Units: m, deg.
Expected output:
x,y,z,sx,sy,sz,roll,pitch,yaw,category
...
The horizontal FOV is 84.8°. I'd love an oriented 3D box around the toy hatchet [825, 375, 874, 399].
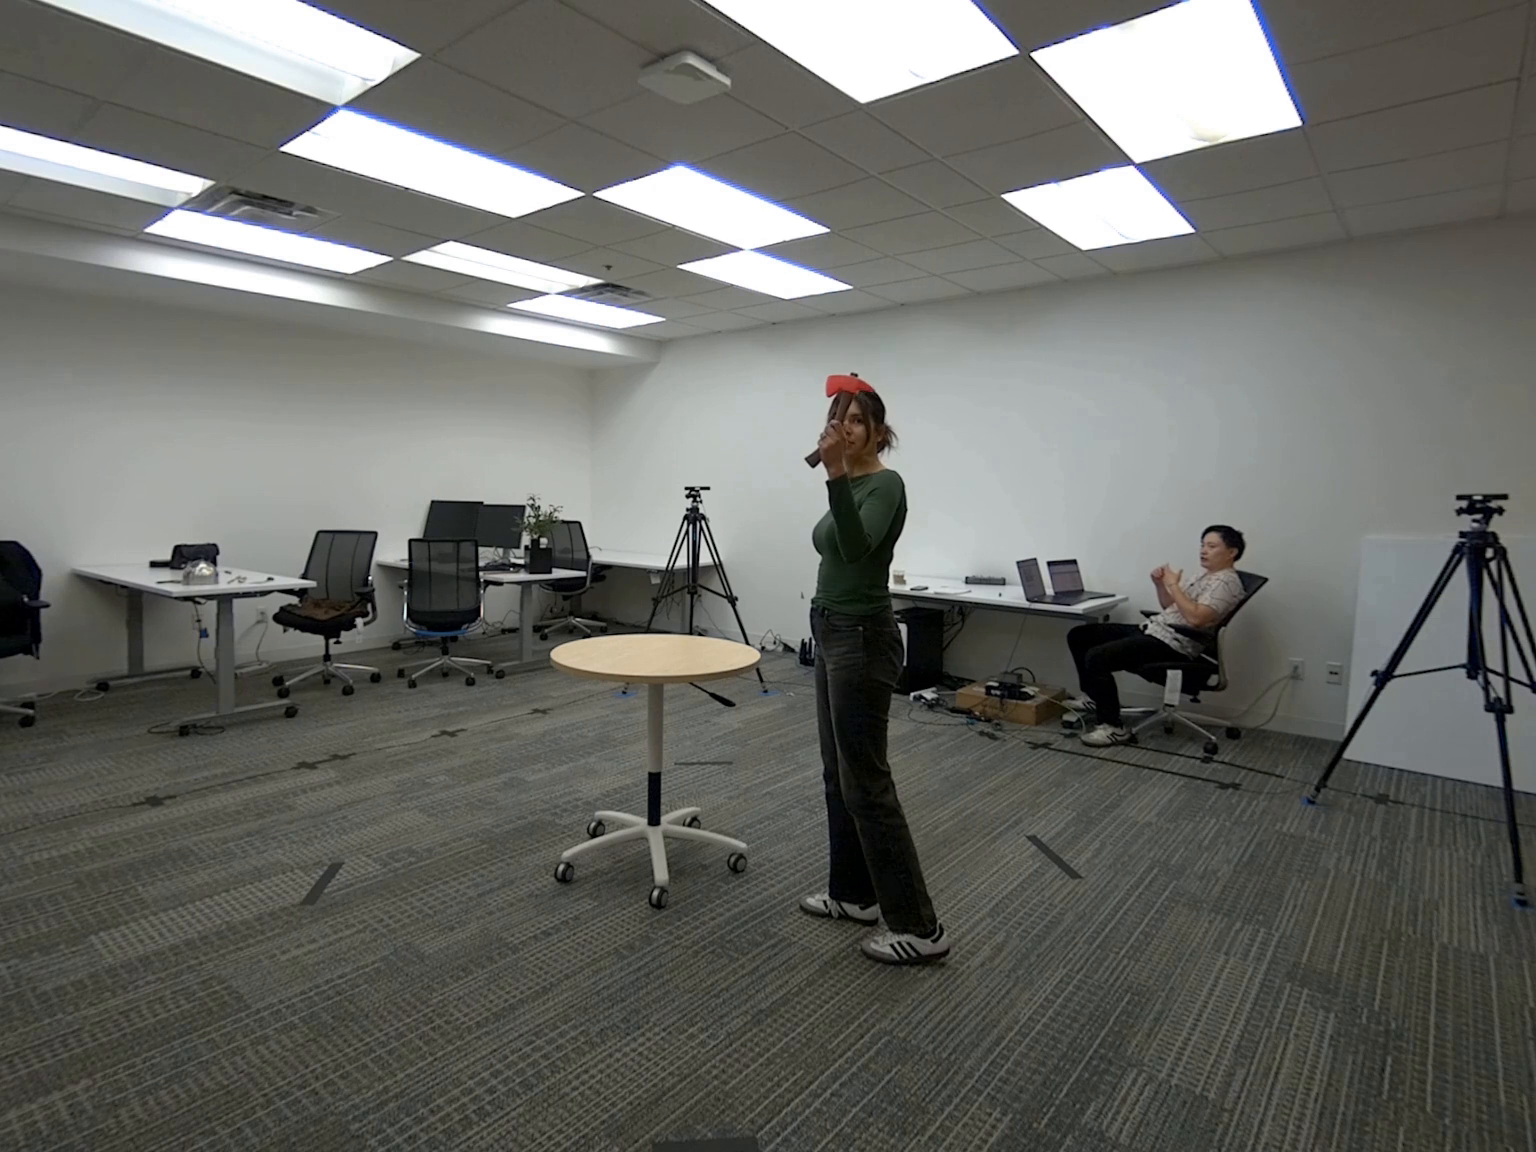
x,y,z,sx,sy,sz,roll,pitch,yaw,category
0.161,-0.434,2.293,0.133,0.270,0.029,37,5,9,toy hatchet
